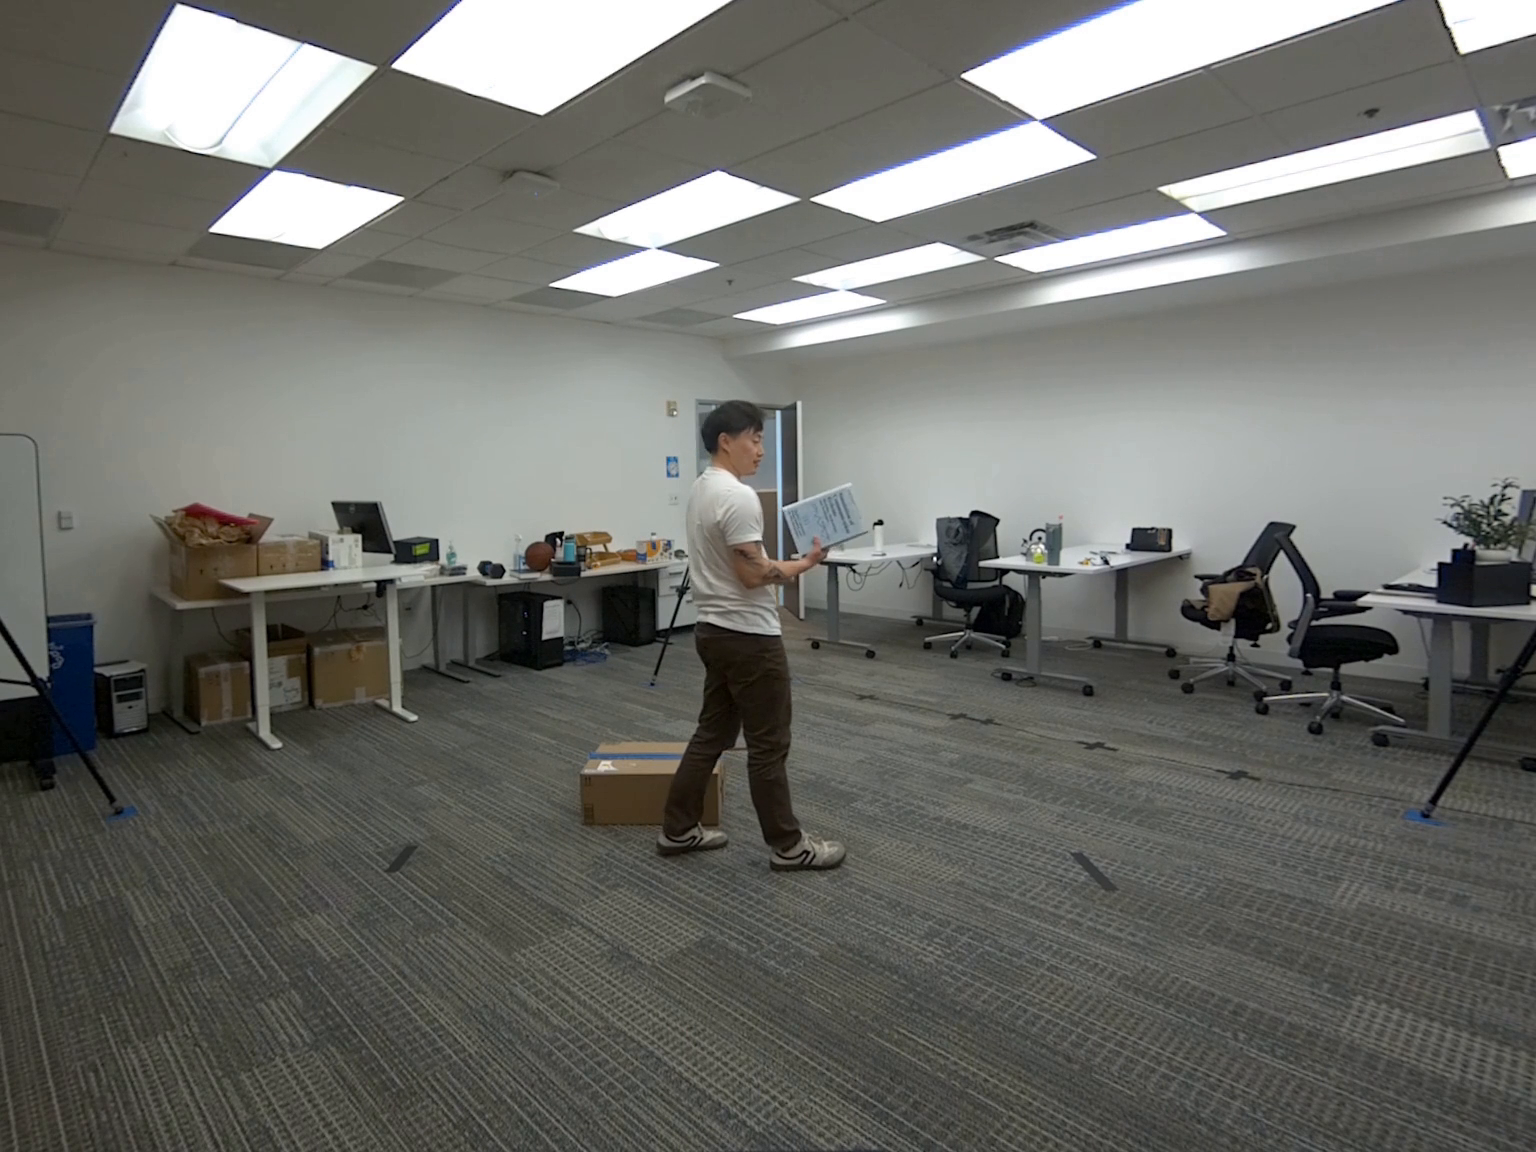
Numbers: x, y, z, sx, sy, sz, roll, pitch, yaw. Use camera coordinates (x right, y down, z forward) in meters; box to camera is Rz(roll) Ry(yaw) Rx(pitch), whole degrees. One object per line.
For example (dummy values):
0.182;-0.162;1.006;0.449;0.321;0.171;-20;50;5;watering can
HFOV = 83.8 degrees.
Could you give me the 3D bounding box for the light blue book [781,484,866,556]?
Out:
0.208;-0.193;3.061;0.261;0.193;0.058;-22;-8;3;light blue book
